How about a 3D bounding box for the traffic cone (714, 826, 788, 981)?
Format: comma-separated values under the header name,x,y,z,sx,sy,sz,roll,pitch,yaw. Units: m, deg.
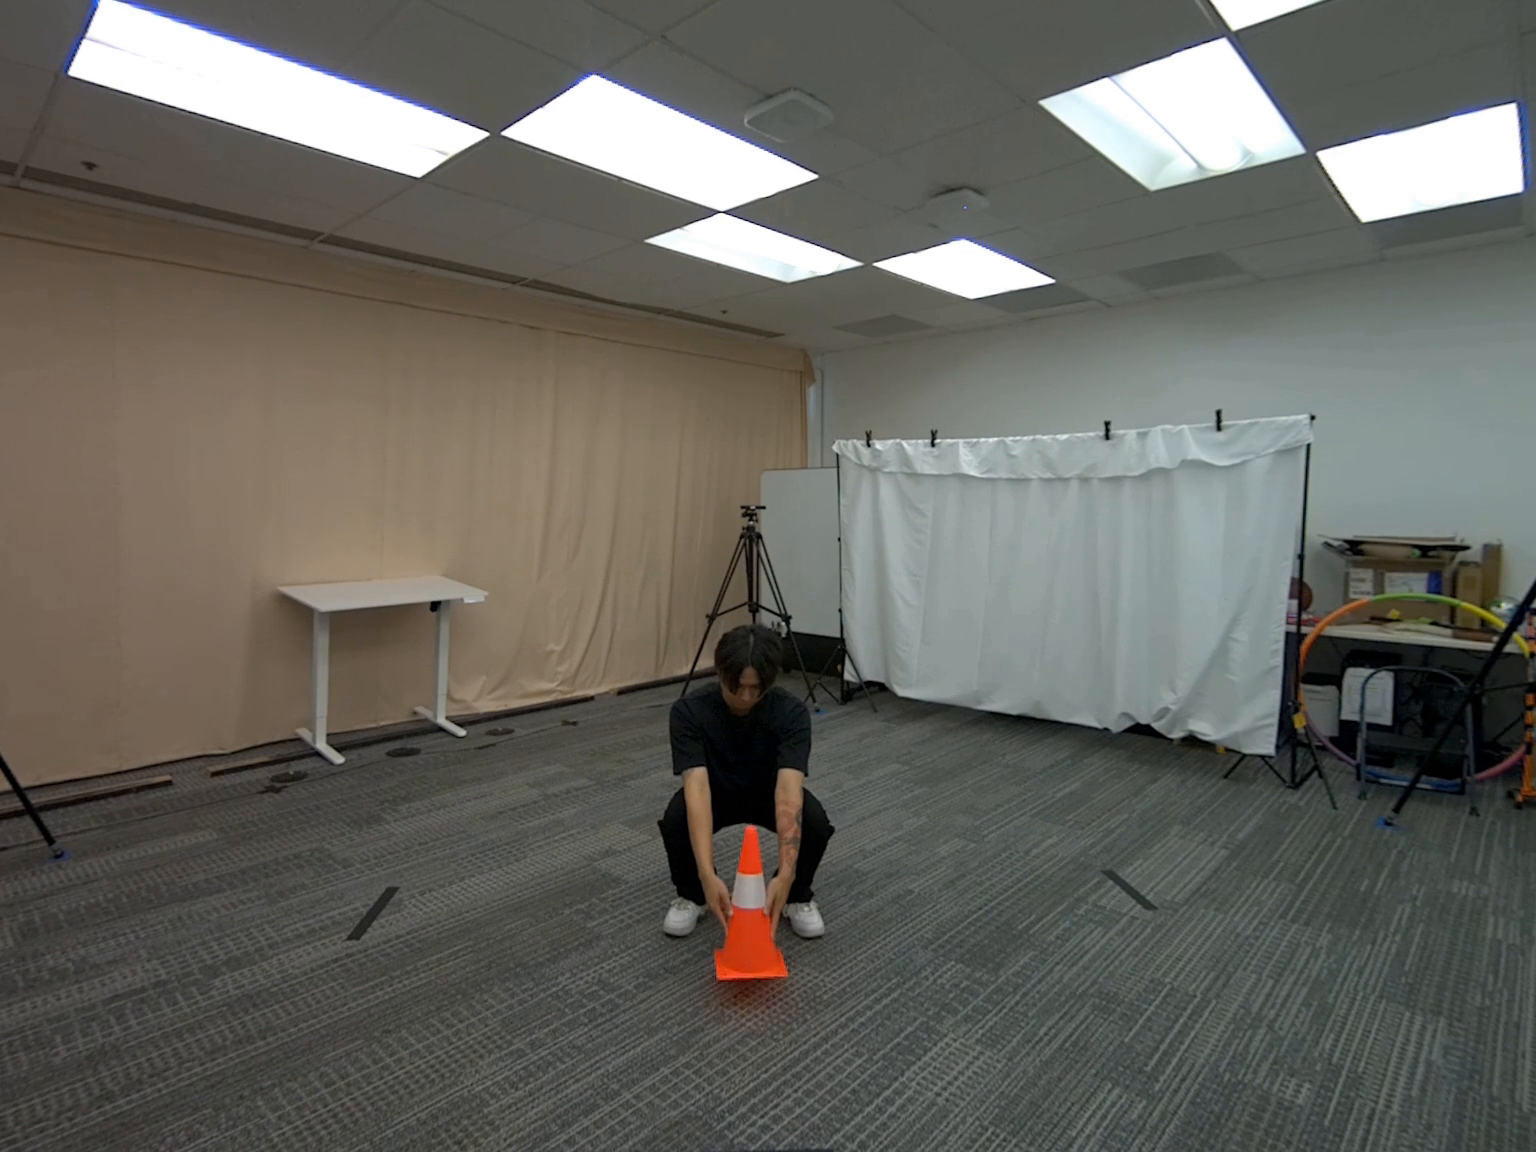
name,x,y,z,sx,sy,sz,roll,pitch,yaw
traffic cone,-0.051,0.914,2.418,0.204,0.385,0.203,0,-6,-5
